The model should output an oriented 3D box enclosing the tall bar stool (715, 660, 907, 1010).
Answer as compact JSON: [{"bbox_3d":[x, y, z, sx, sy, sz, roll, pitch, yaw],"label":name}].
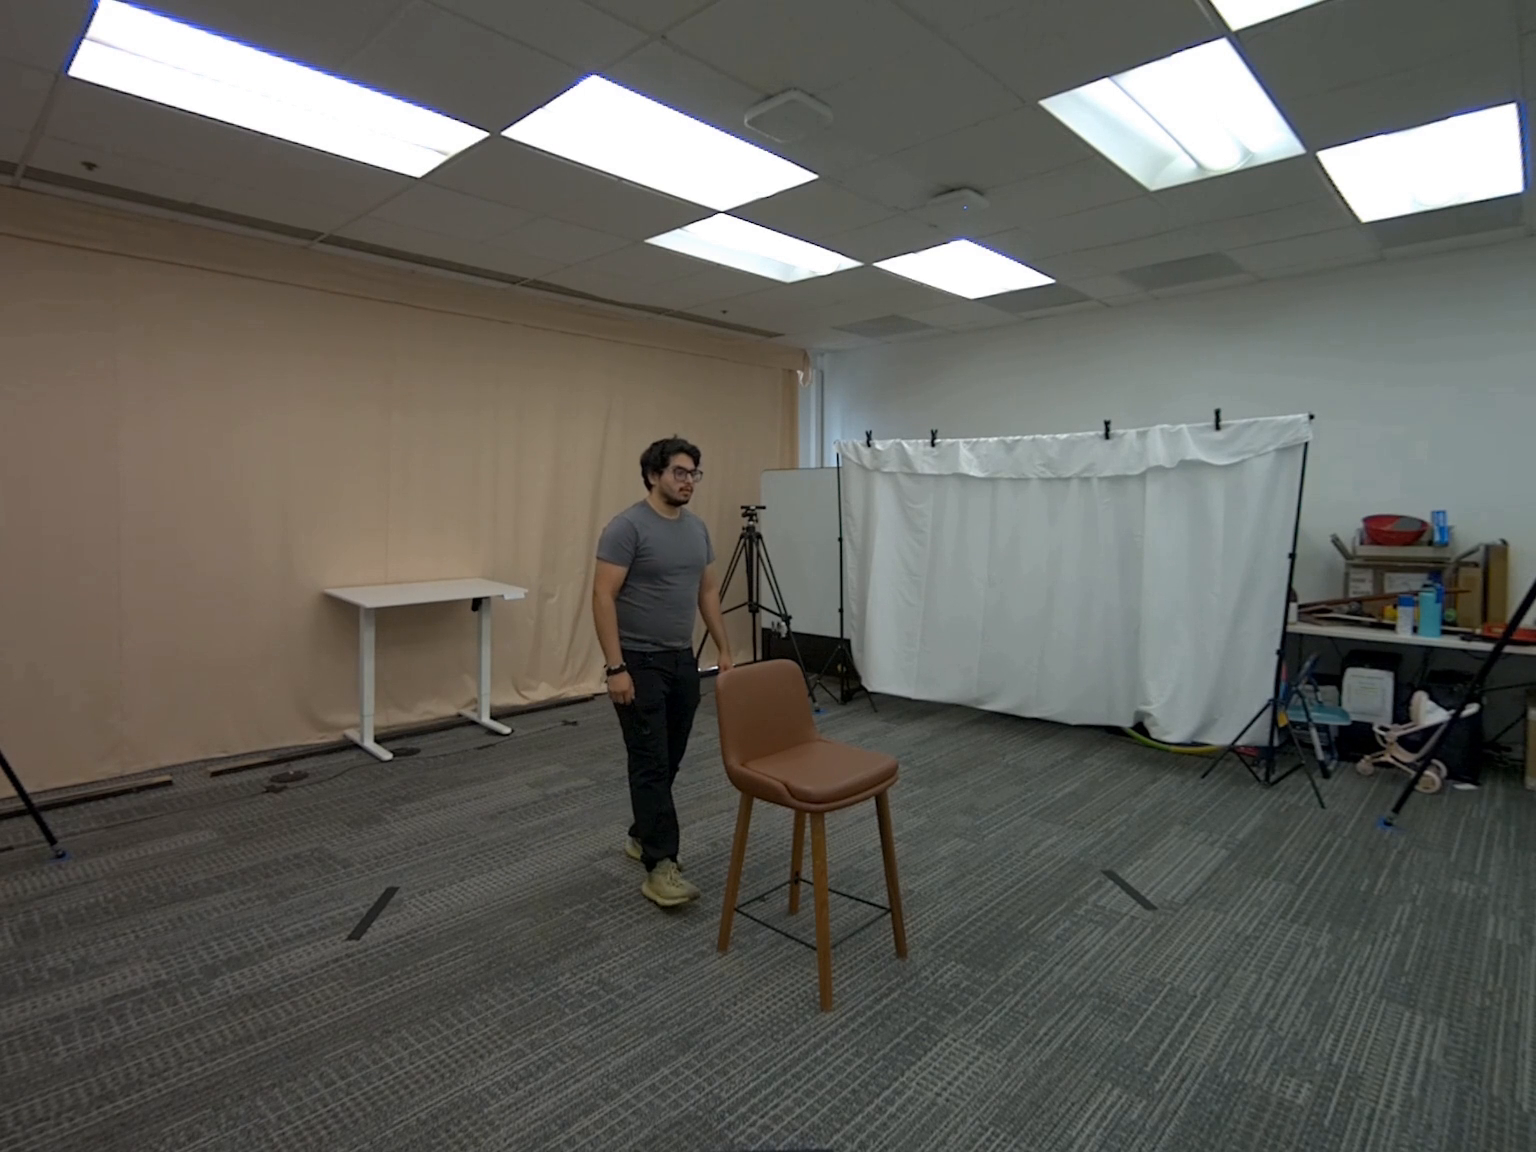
[{"bbox_3d":[0.128,0.742,2.594,0.483,0.888,0.442,1,3,43],"label":"tall bar stool"}]
